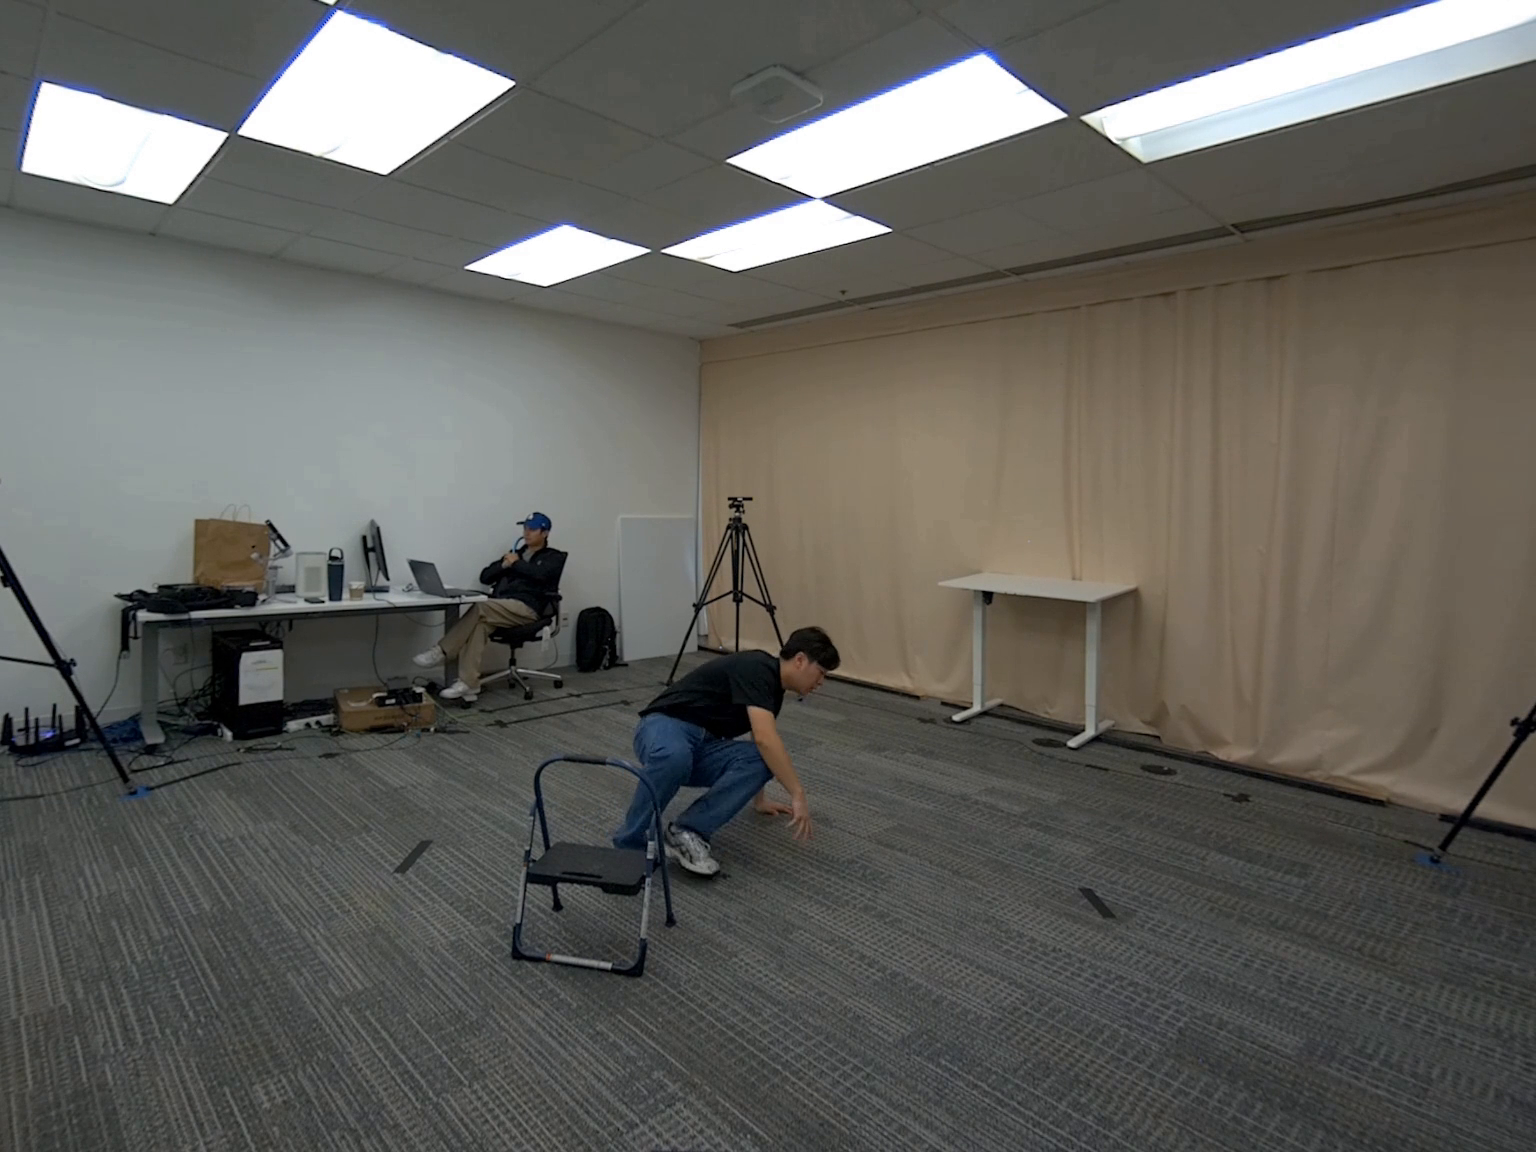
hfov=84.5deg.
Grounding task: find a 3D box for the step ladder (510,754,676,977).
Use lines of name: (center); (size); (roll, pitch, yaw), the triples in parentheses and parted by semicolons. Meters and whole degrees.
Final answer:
step ladder: (-0.541, 0.843, 2.621); (0.434, 0.605, 0.347); (1, 3, 10)
